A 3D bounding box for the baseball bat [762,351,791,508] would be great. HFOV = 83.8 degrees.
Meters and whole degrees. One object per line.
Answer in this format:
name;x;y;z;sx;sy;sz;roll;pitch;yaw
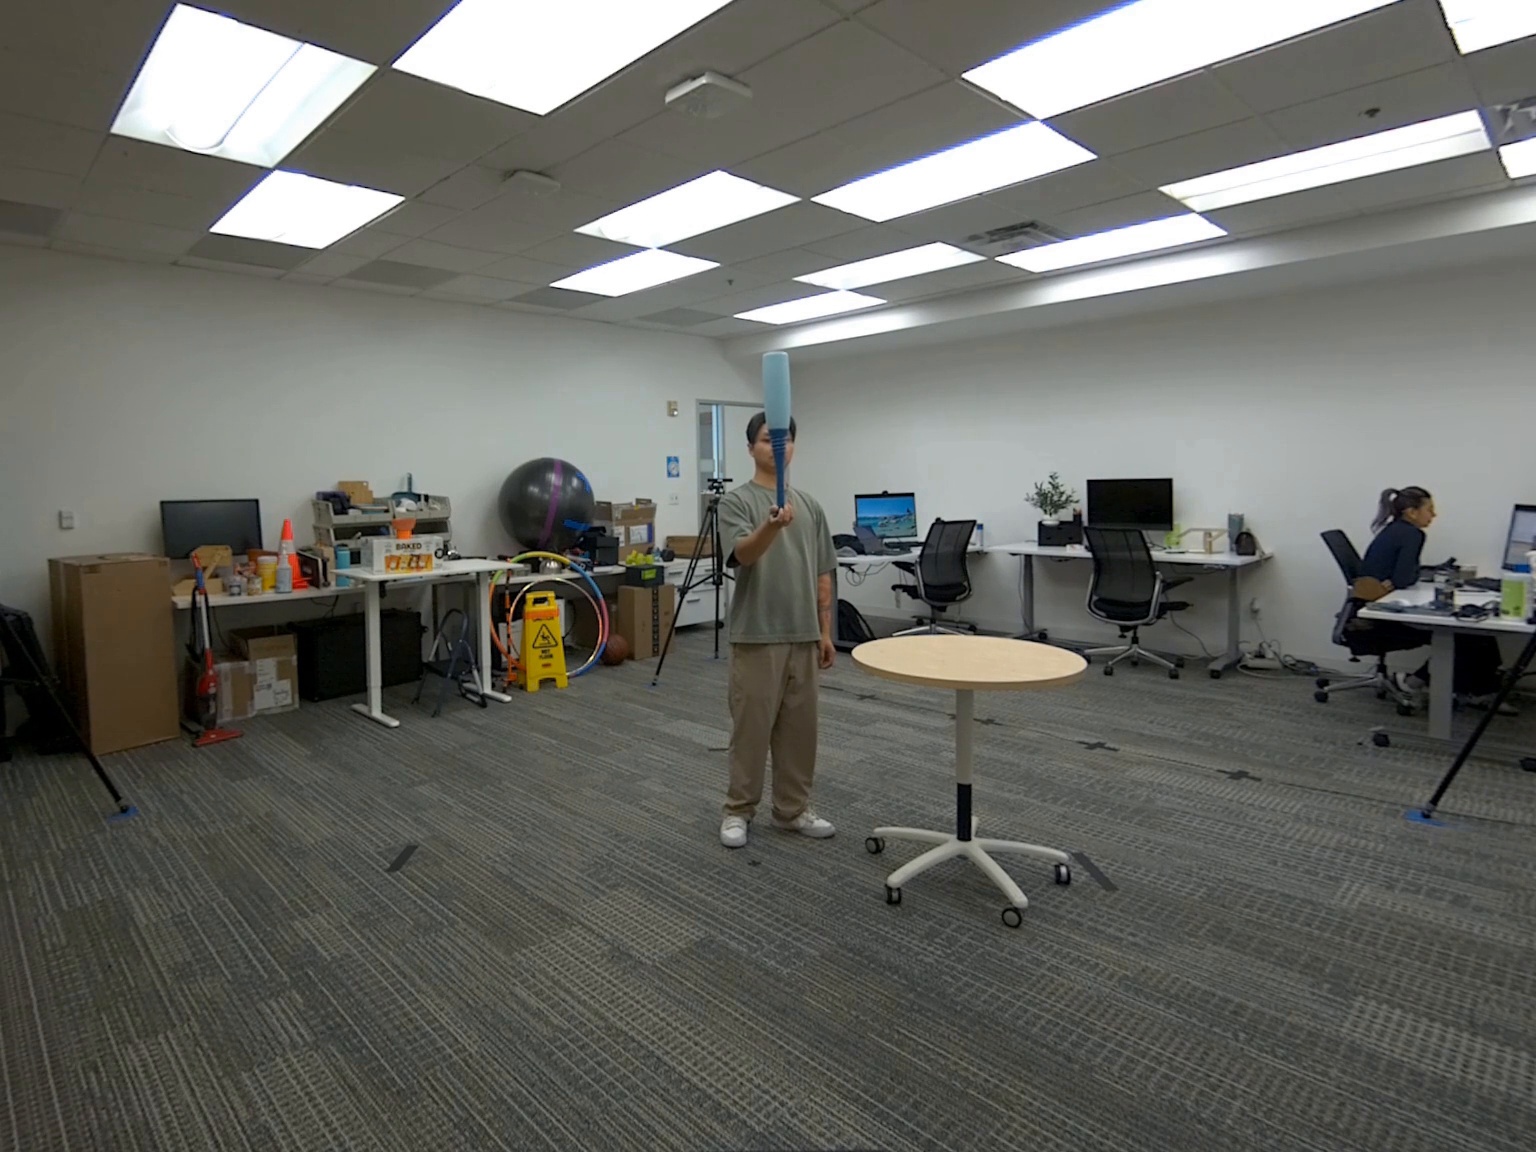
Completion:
baseball bat;0.033;-0.462;2.796;0.089;0.542;0.089;-2;1;-2
